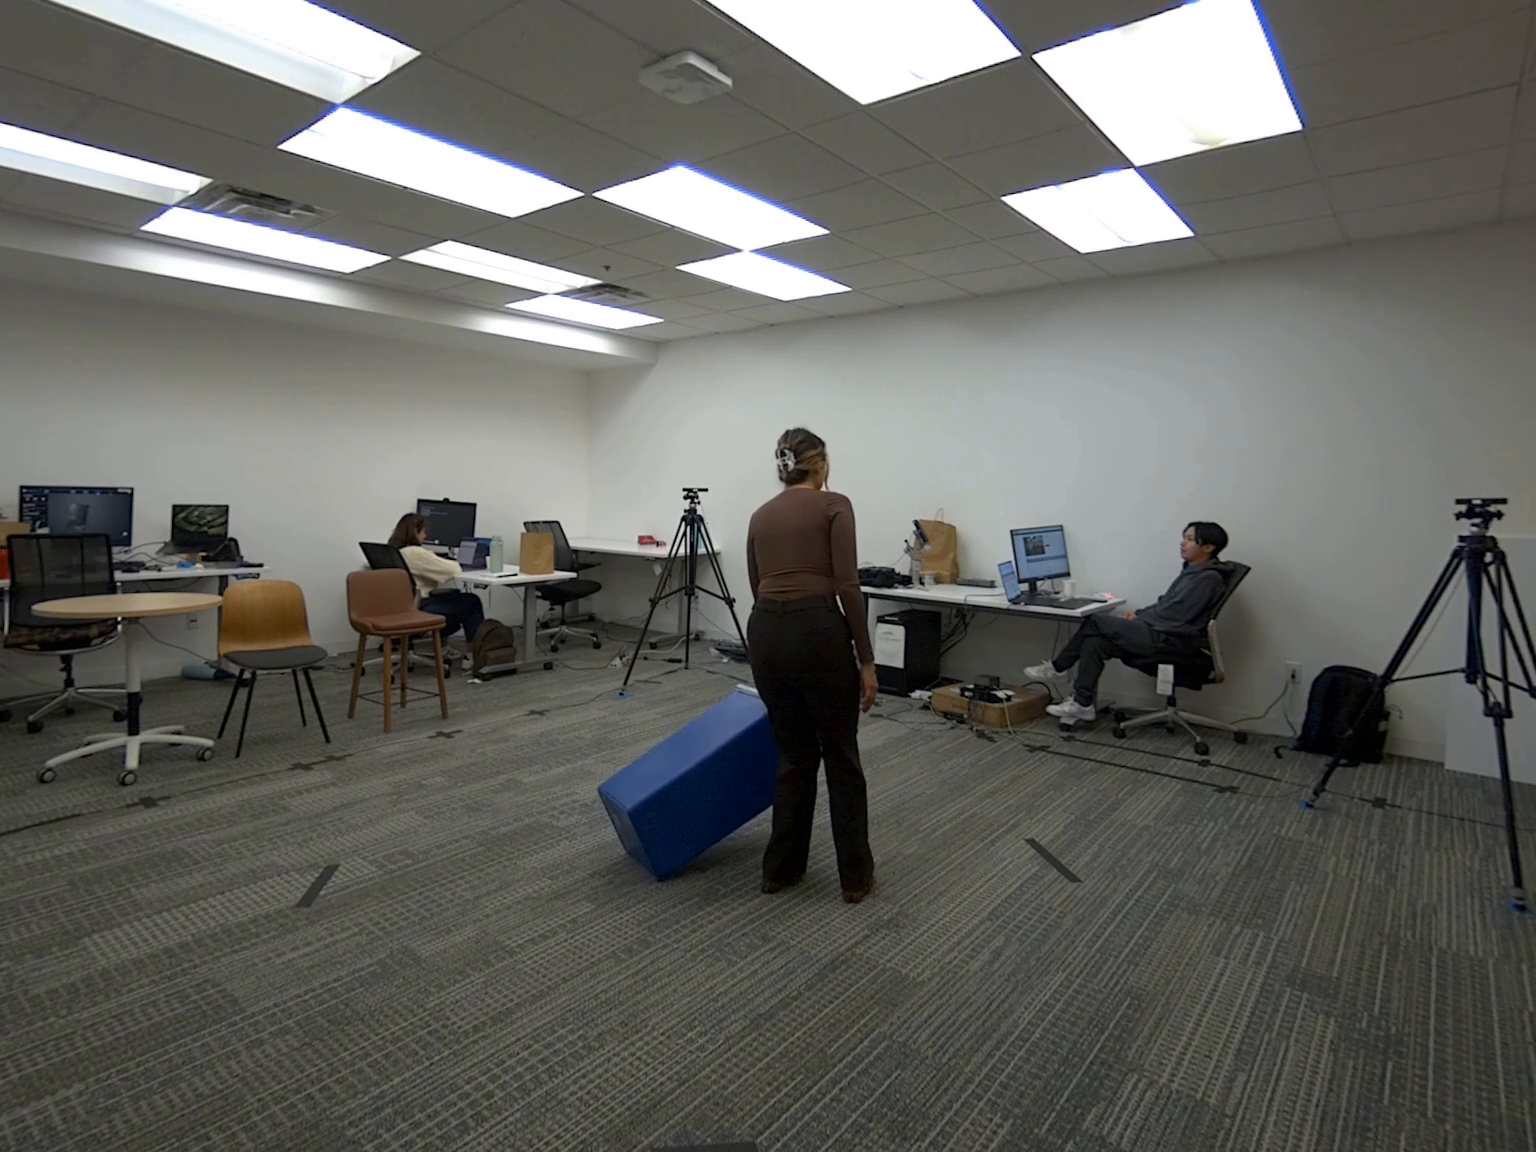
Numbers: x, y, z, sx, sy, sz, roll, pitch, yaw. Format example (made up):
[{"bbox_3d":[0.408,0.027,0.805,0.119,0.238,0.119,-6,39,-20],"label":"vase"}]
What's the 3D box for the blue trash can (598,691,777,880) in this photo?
[{"bbox_3d":[-0.254,0.769,3.240,0.705,0.371,0.385,-29,17,-27],"label":"blue trash can"}]
